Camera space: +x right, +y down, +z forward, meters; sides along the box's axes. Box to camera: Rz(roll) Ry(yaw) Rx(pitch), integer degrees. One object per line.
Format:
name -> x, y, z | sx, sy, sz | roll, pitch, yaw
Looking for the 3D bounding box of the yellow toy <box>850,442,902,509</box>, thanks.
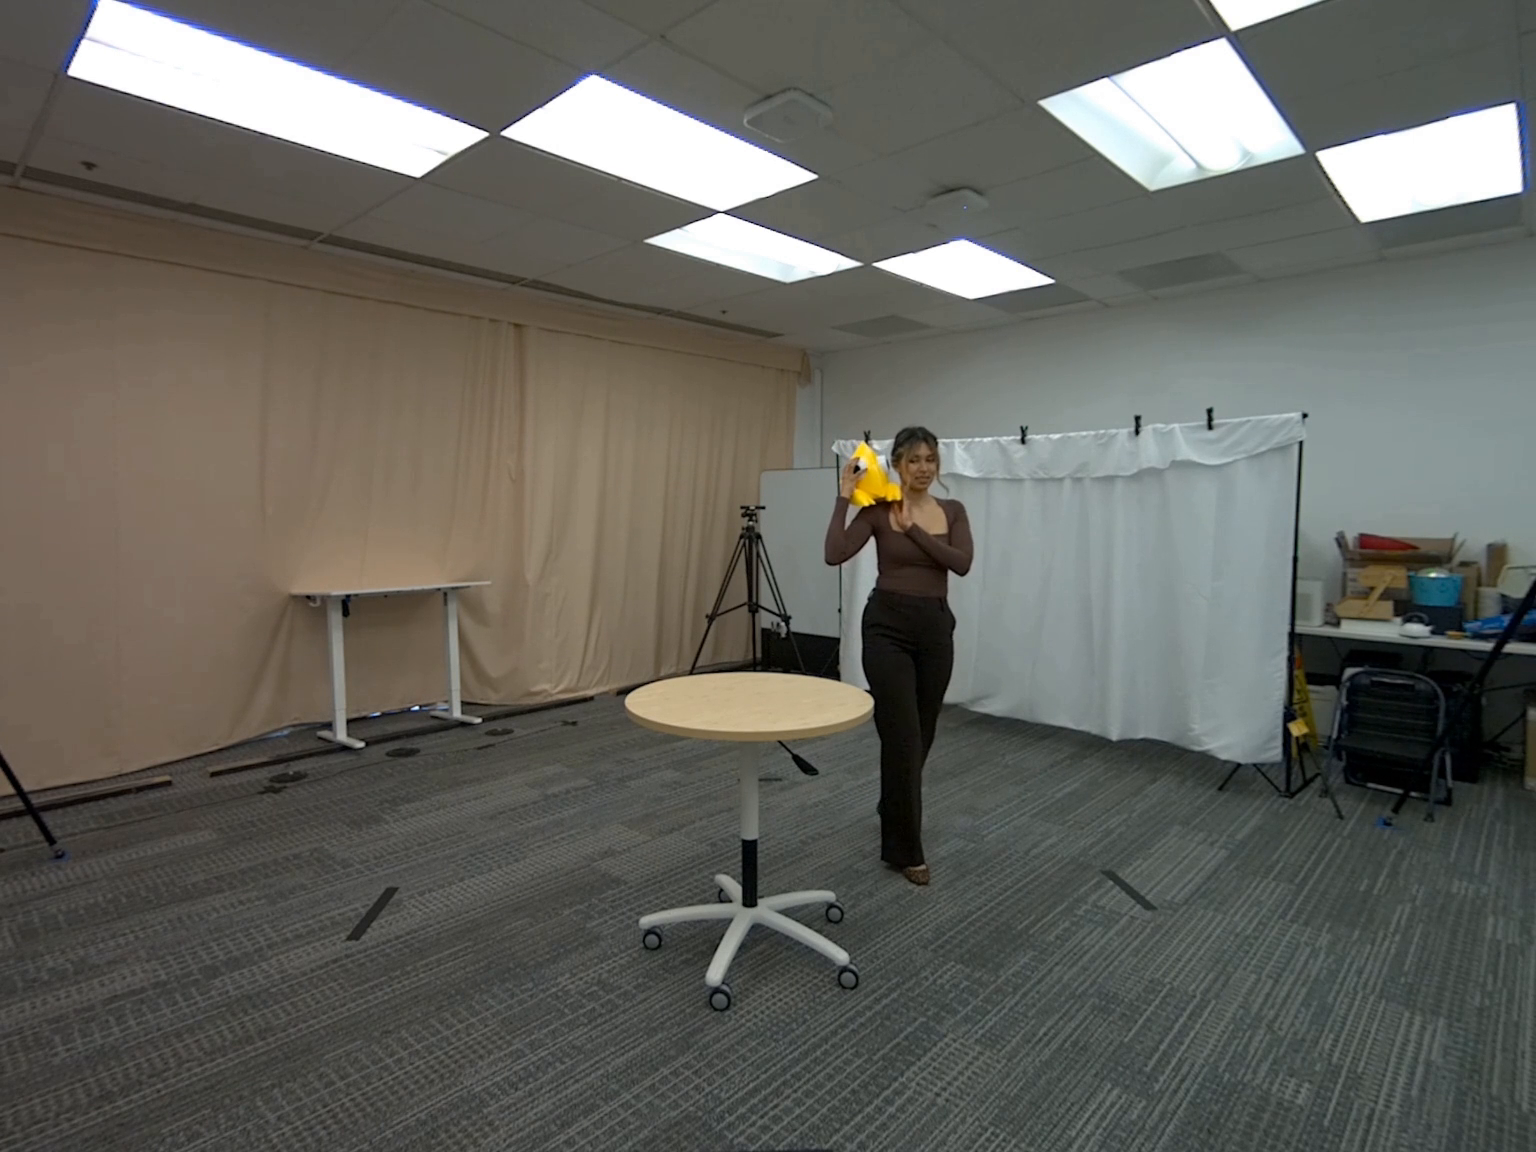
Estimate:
yellow toy -> 0.414, -0.406, 3.277 | 0.203, 0.228, 0.197 | -11, 13, -11
